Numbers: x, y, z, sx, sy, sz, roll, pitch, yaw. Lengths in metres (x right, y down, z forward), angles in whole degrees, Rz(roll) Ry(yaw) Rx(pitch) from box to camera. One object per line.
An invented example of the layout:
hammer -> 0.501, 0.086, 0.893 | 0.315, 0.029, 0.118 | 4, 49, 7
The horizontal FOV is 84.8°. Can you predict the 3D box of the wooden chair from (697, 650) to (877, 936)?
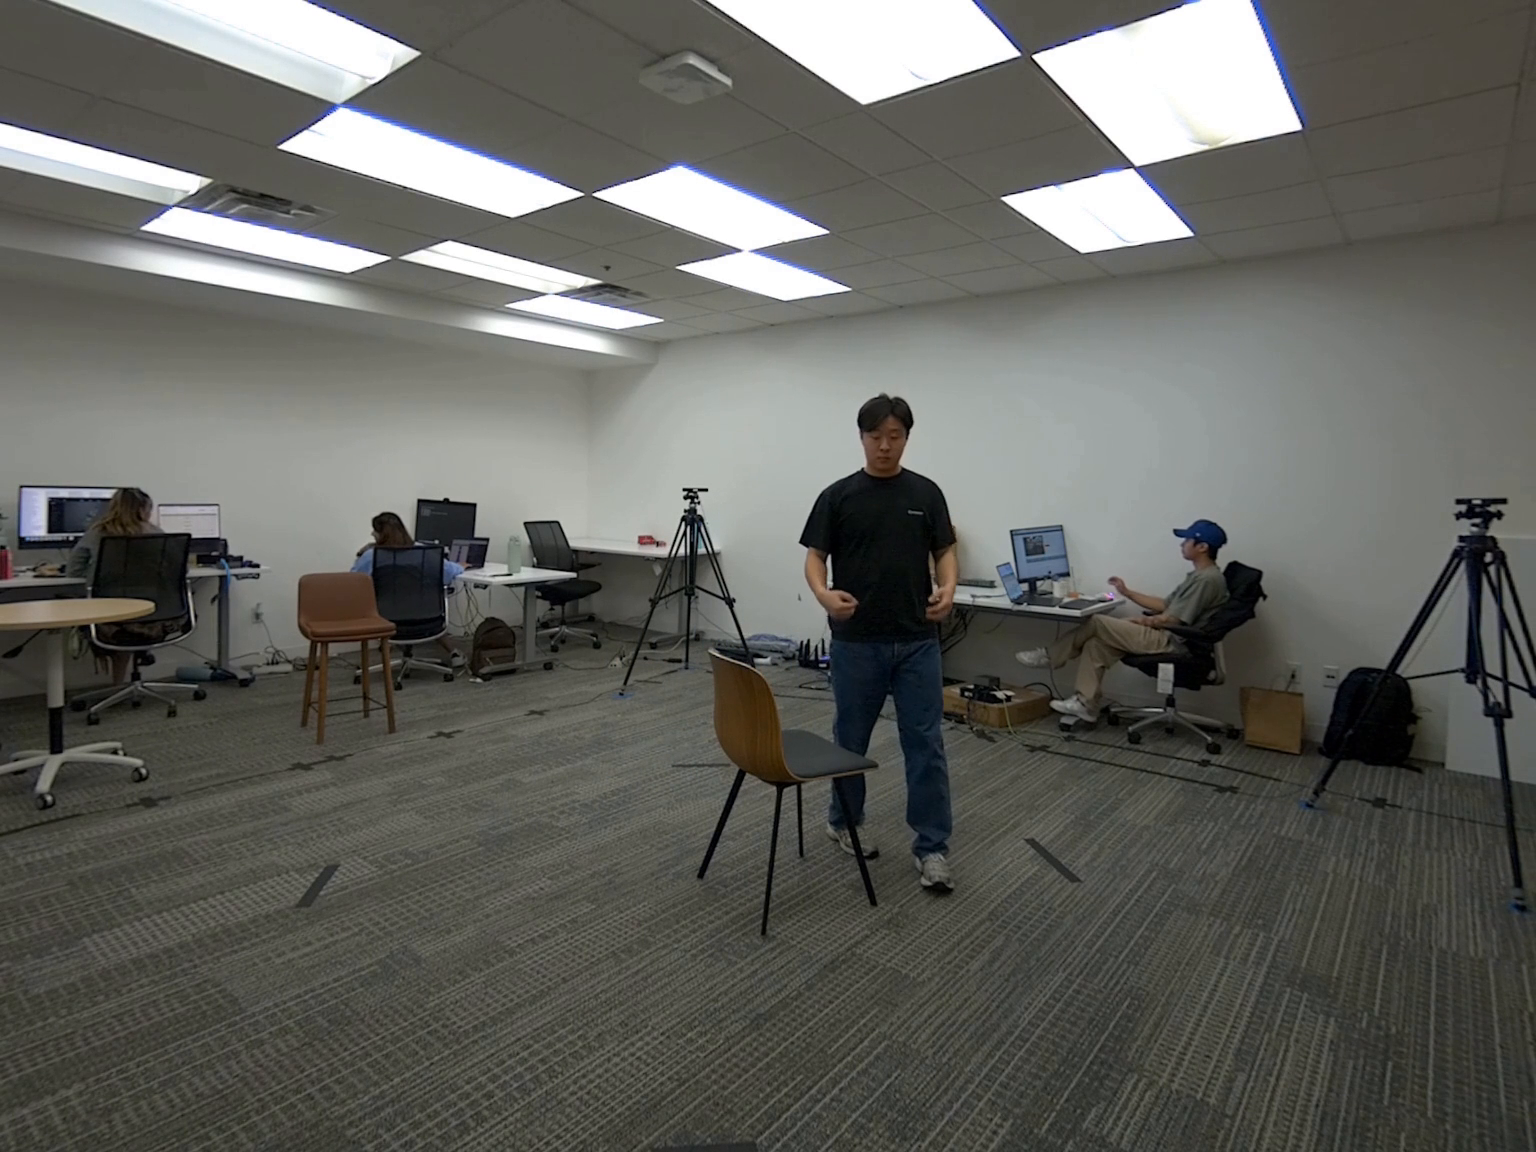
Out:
wooden chair -> 0.063, 0.666, 2.924 | 0.510, 0.873, 0.493 | -5, 6, -31
